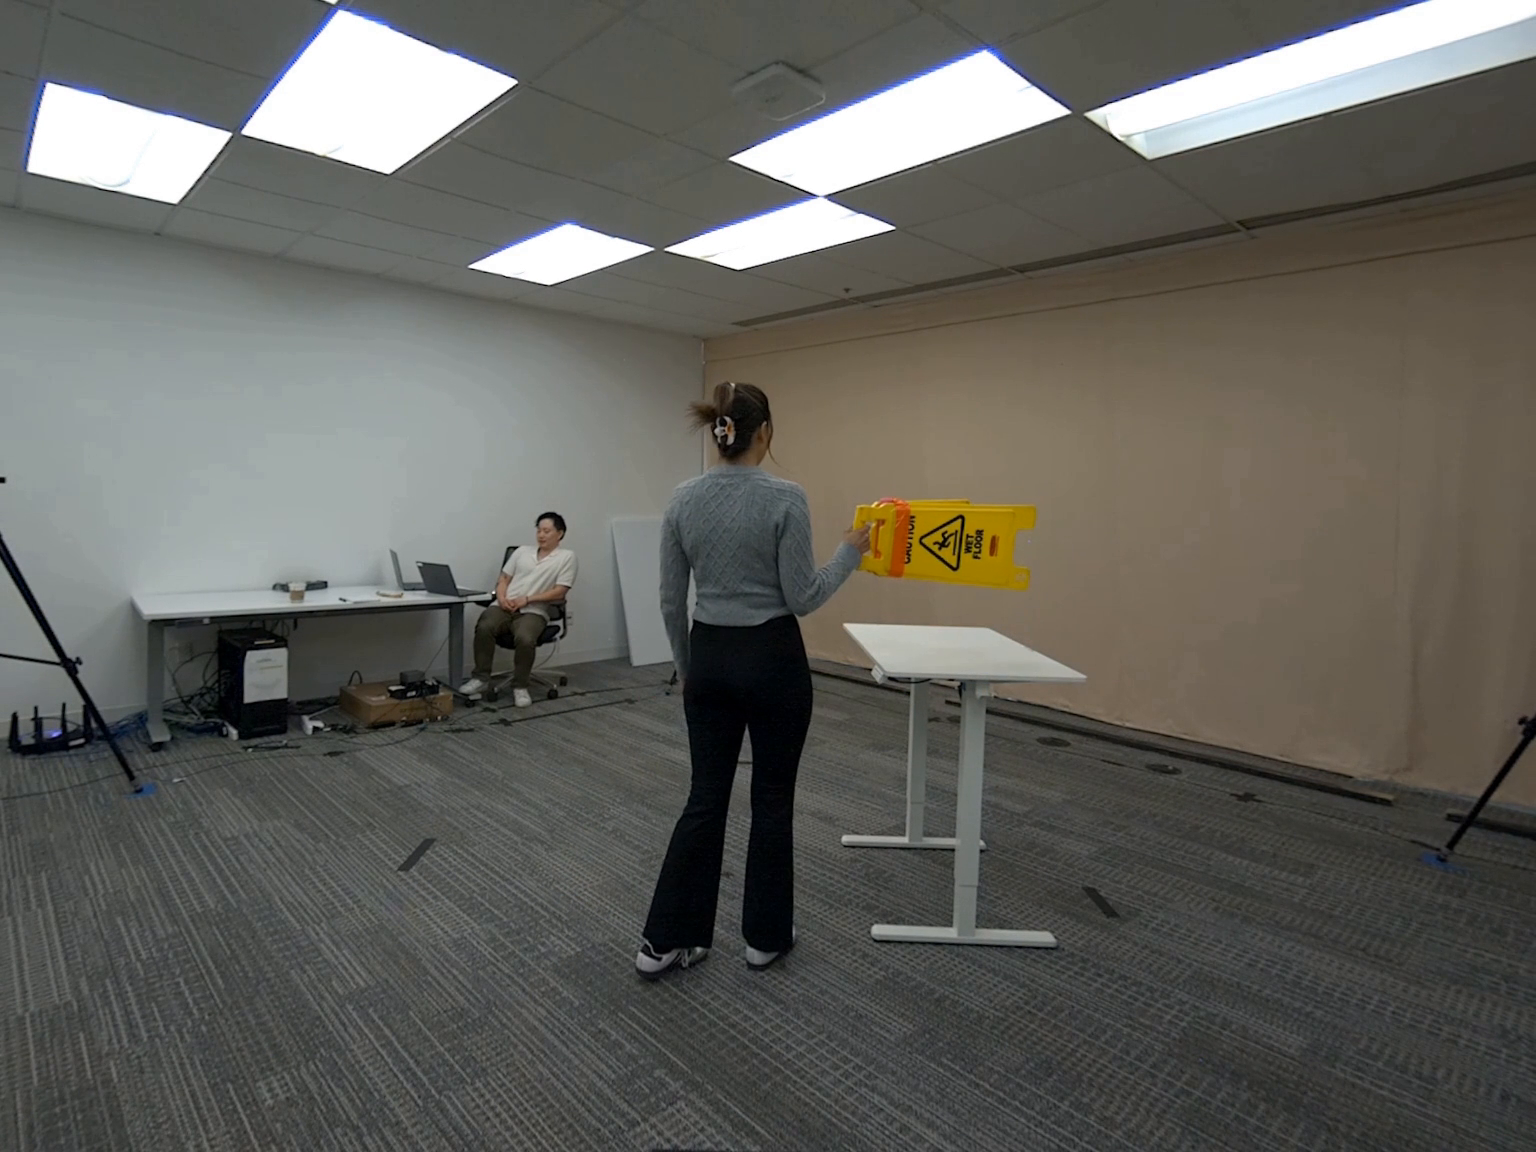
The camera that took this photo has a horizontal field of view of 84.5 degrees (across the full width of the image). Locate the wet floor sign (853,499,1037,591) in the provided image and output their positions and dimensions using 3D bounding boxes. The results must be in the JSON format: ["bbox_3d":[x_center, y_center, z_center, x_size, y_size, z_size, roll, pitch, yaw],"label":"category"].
[{"bbox_3d":[0.511,-0.110,2.704,0.632,0.281,0.297,1,7,-34],"label":"wet floor sign"}]
